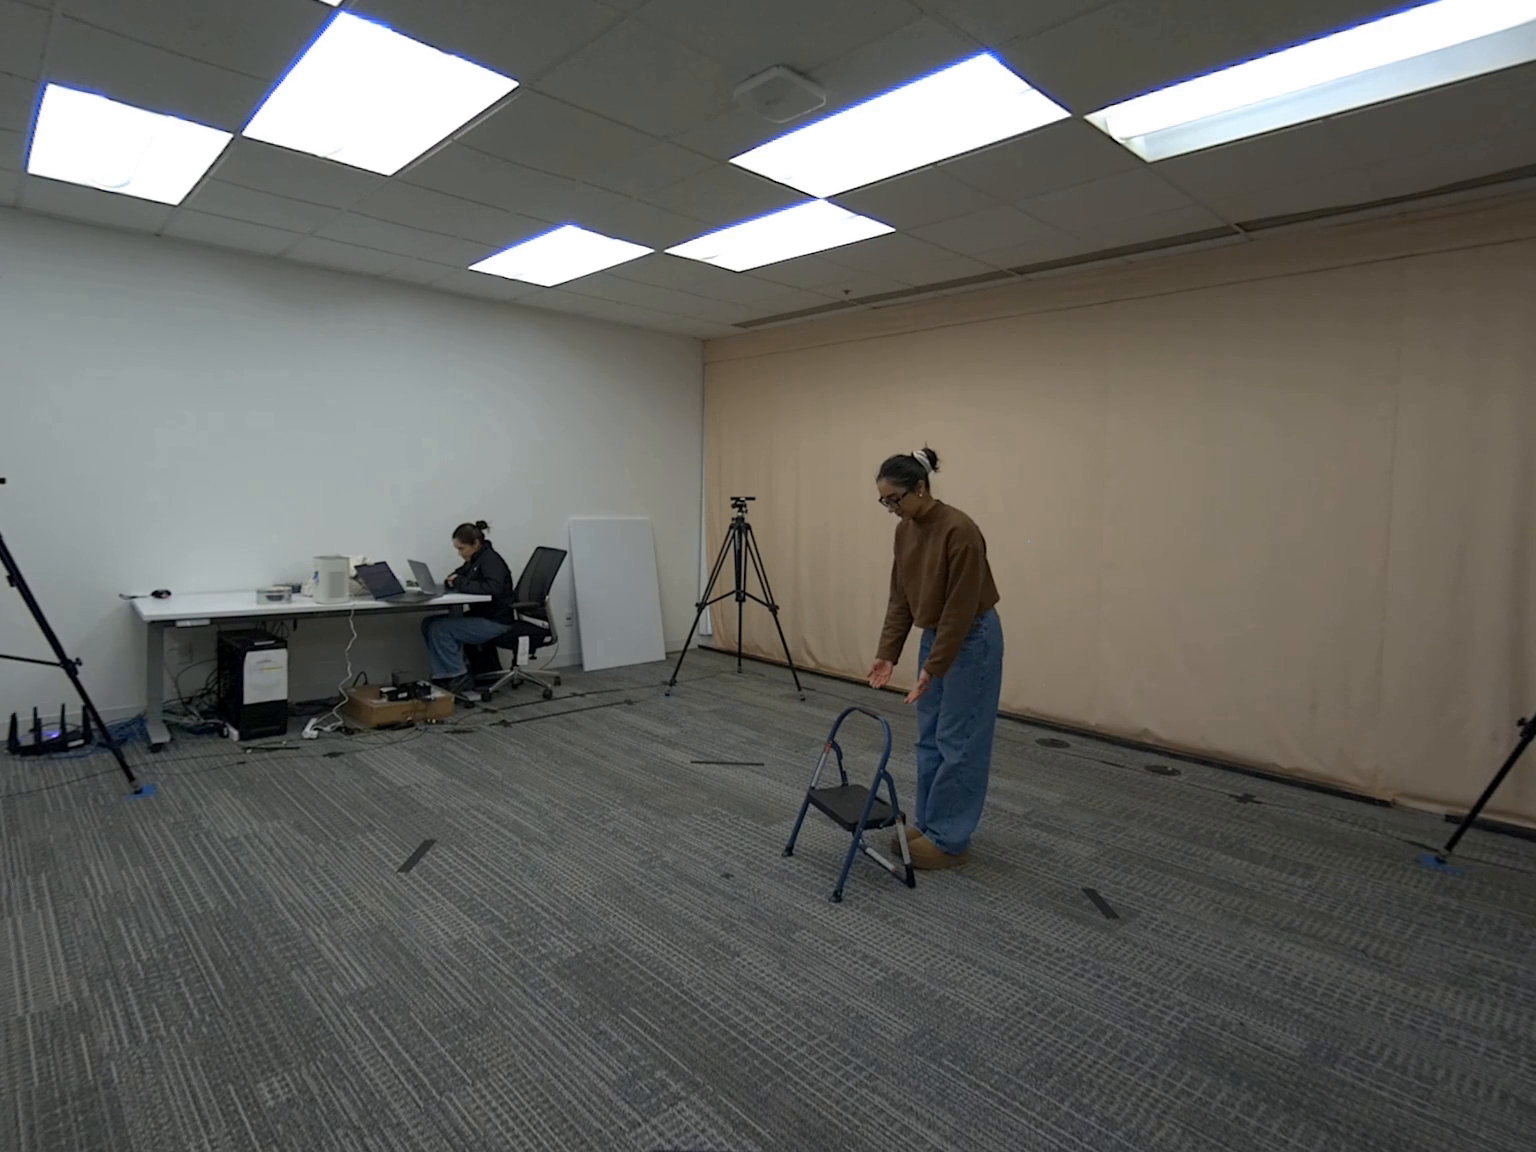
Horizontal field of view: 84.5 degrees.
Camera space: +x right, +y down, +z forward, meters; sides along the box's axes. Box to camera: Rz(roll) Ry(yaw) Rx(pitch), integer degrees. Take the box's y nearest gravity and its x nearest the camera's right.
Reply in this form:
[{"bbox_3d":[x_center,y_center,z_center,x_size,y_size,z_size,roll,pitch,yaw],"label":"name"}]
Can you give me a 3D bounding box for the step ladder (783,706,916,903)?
[{"bbox_3d":[0.299,0.809,3.149,0.343,0.604,0.439,0,4,-24],"label":"step ladder"}]
